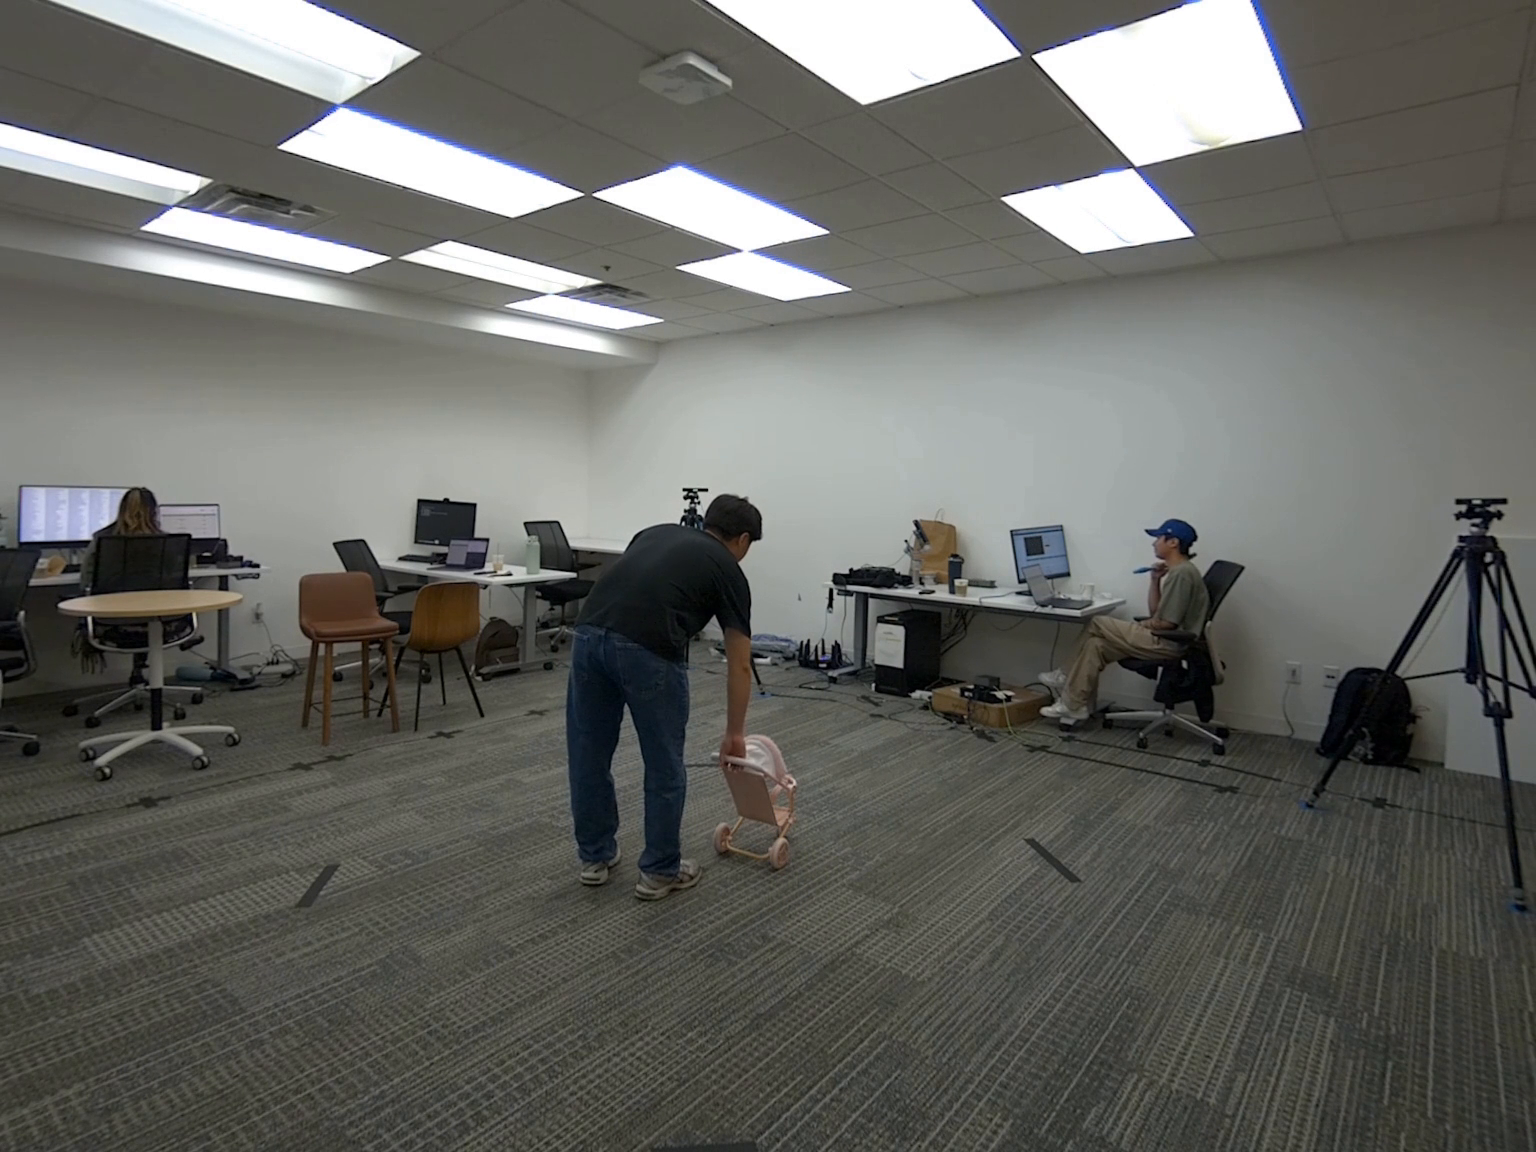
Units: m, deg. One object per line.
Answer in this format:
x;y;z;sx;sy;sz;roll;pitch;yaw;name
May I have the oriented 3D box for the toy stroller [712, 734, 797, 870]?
-0.039;0.833;3.240;0.290;0.526;0.336;4;20;34;toy stroller
